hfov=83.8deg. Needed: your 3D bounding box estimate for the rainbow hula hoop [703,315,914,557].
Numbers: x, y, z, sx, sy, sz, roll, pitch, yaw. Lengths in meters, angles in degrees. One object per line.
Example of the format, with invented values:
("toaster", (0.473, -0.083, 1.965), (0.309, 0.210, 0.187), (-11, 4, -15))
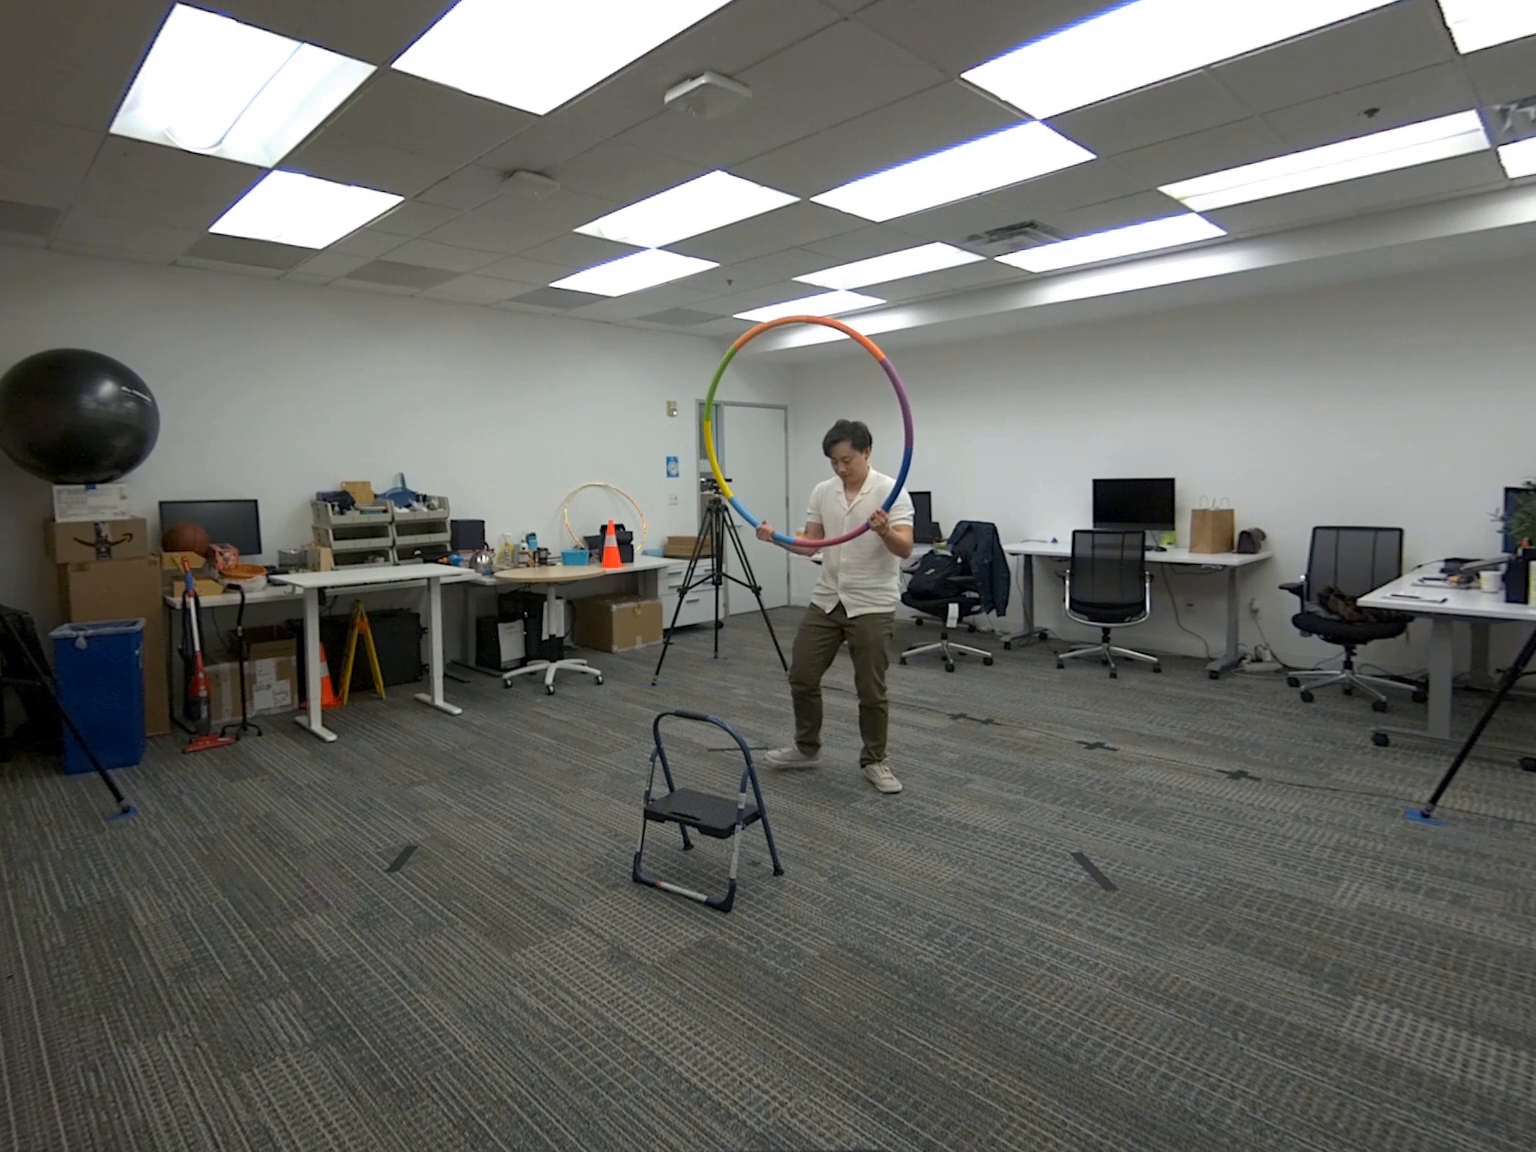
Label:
("rainbow hula hoop", (0.138, -0.591, 3.628), (1.005, 0.966, 0.035), (2, 15, 33))
